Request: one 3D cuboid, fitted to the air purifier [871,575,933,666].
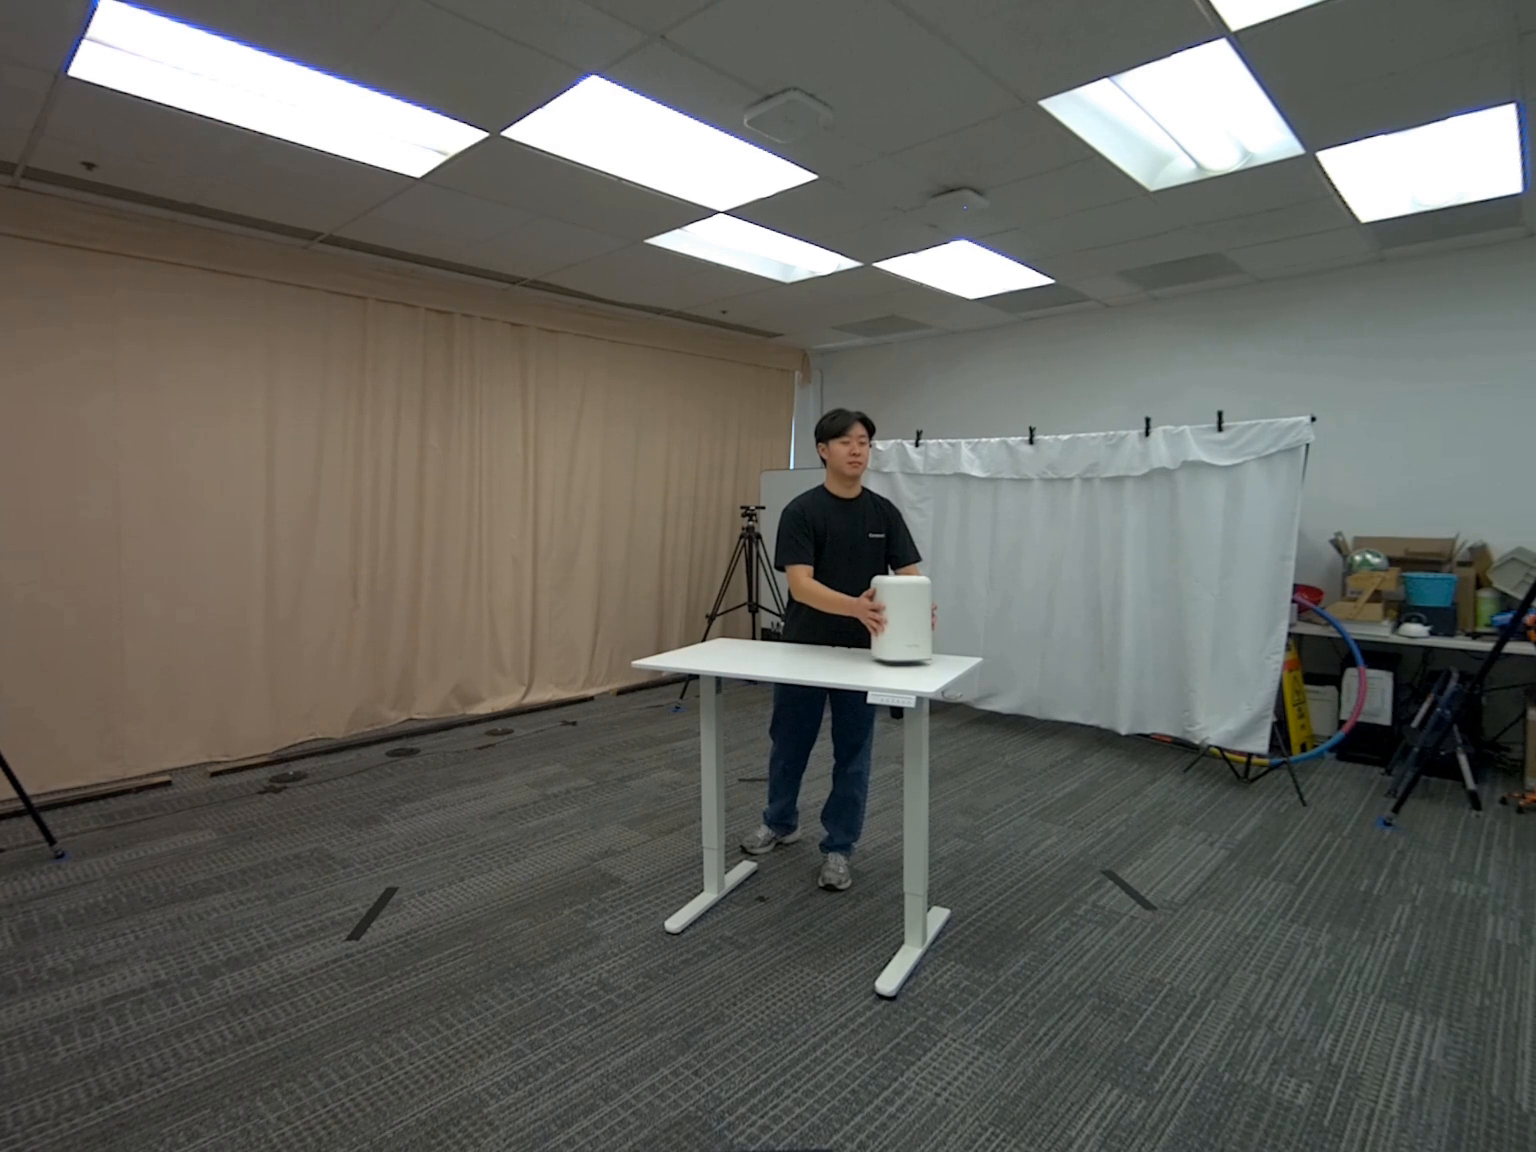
[{"bbox_3d":[0.422,0.134,2.708,0.169,0.265,0.174,0,1,-12],"label":"air purifier"}]
